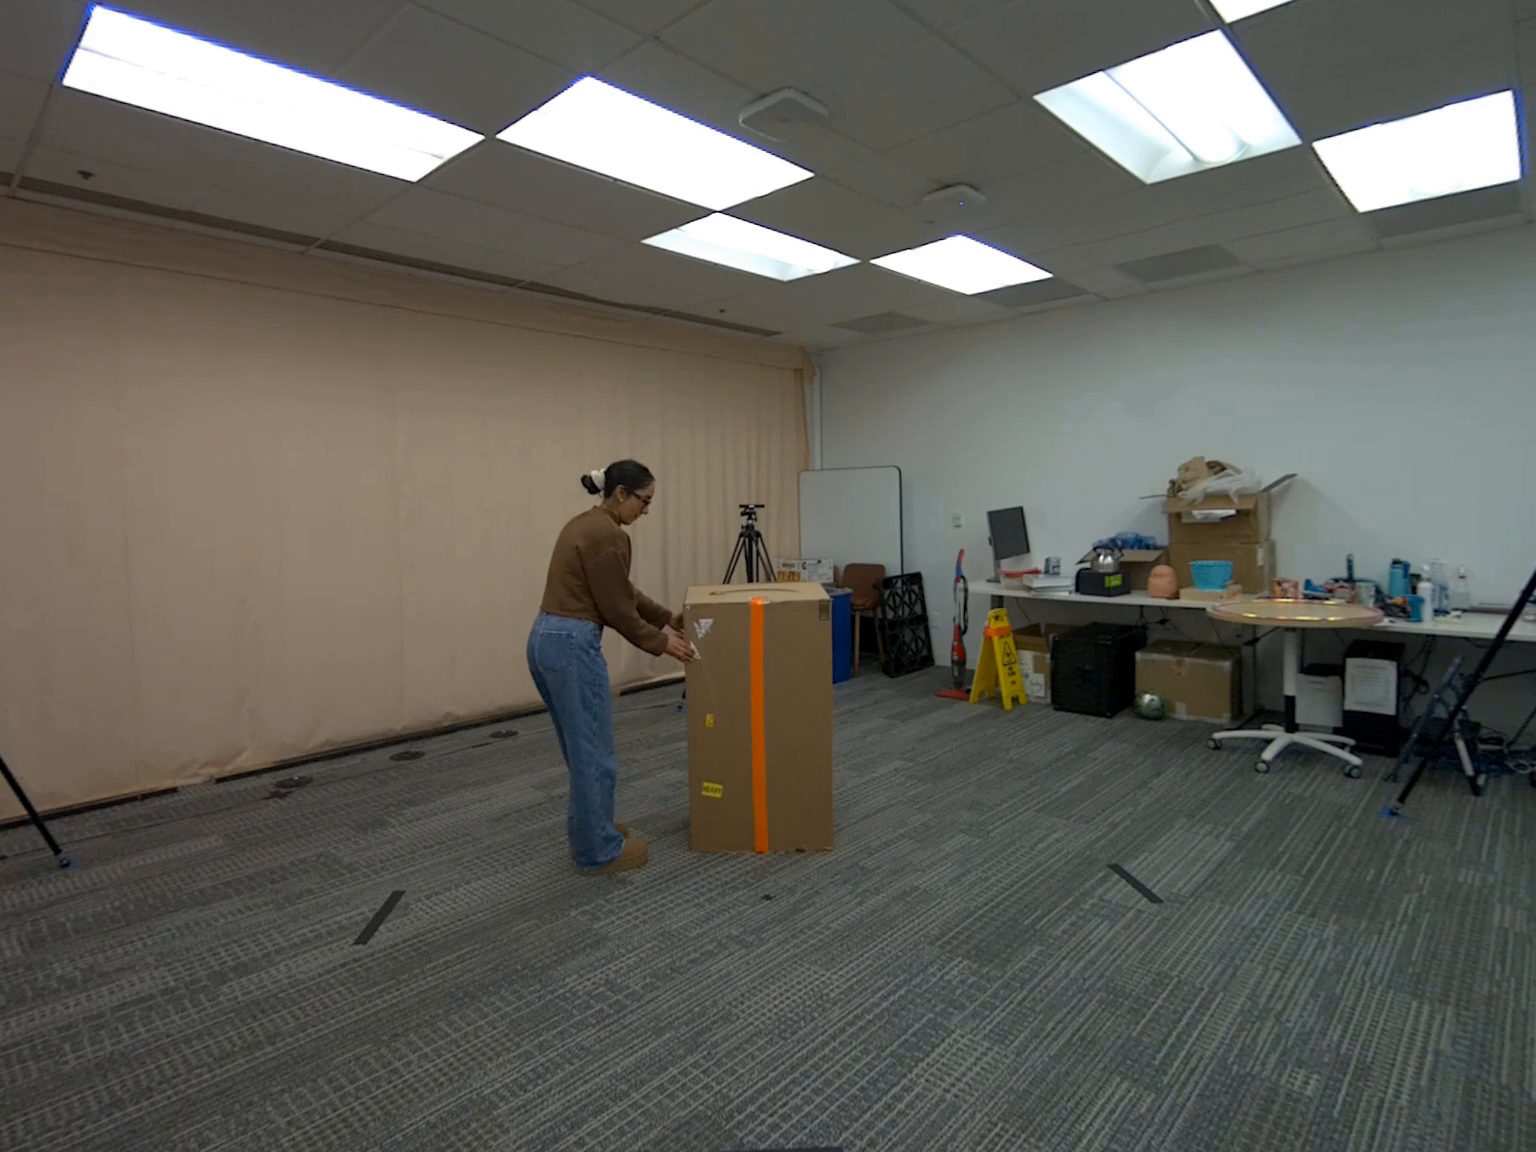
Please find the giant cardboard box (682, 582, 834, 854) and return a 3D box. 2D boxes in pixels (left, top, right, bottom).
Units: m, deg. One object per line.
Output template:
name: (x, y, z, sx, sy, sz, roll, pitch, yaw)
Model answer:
giant cardboard box: (-0.047, 0.569, 3.519, 0.578, 1.020, 0.428, -2, 8, 0)
